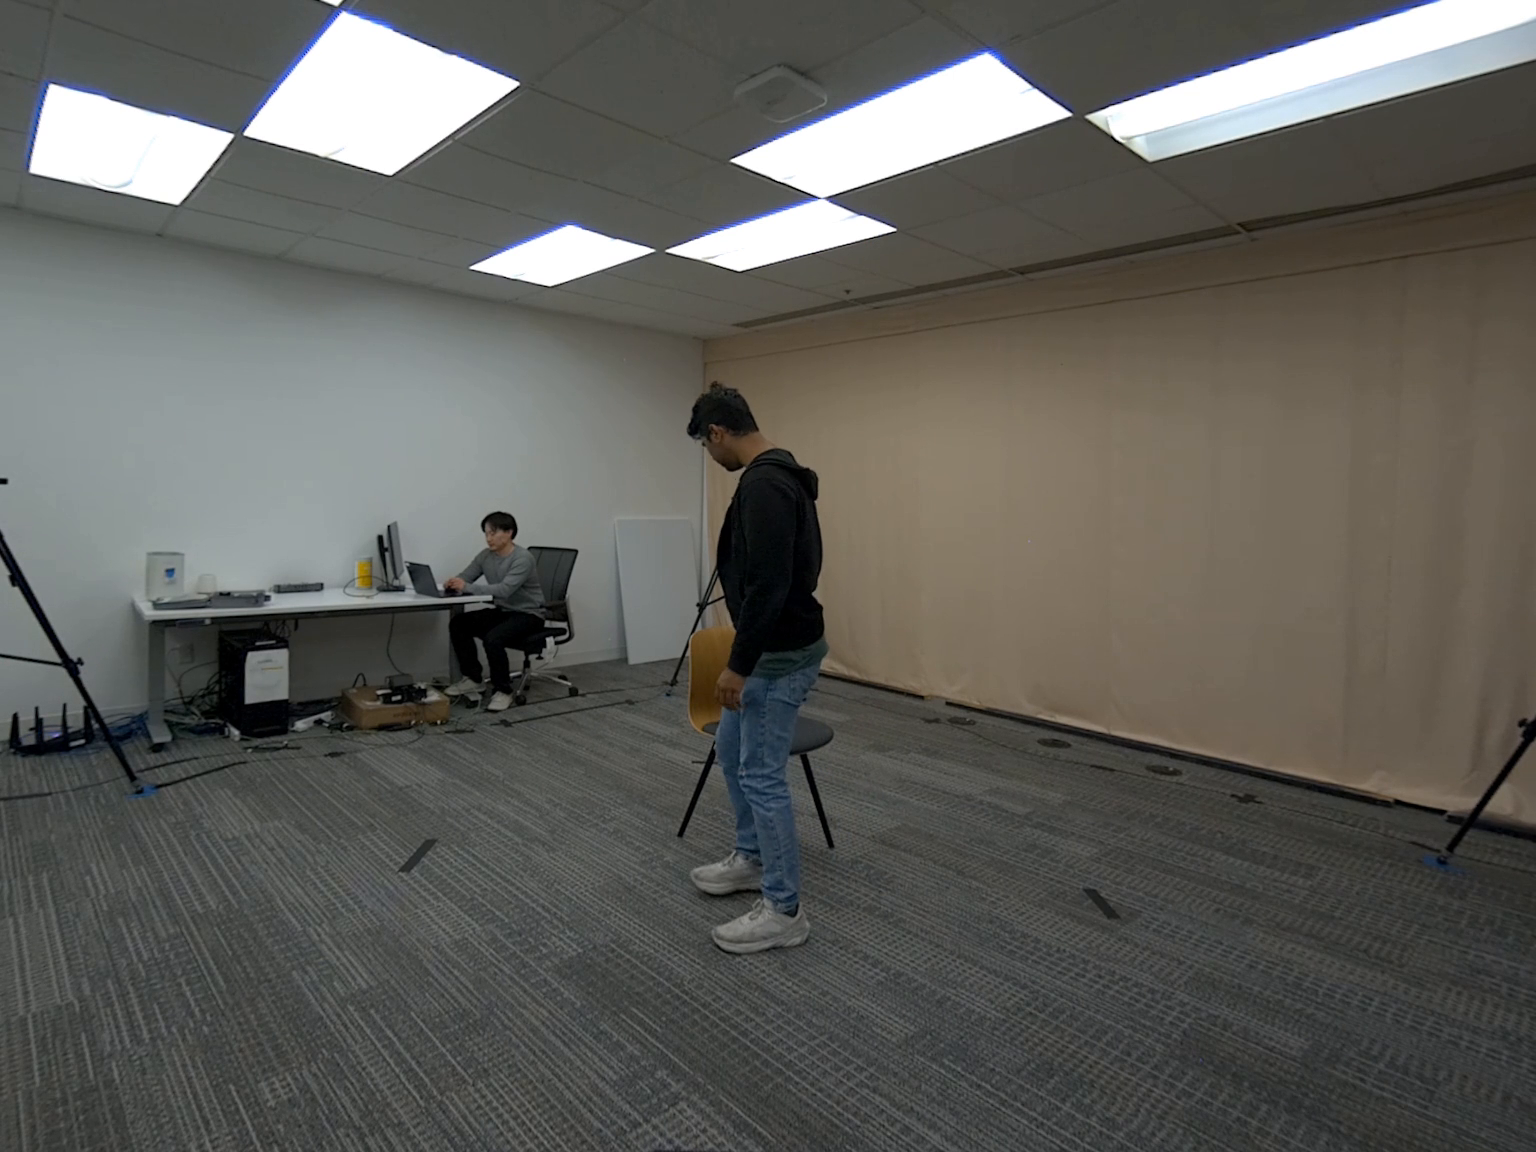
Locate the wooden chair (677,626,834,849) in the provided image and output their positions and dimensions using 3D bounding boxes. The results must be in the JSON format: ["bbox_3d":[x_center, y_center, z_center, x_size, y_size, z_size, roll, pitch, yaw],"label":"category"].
[{"bbox_3d":[-0.044,0.658,3.378,0.467,0.878,0.535,-1,0,-40],"label":"wooden chair"}]
